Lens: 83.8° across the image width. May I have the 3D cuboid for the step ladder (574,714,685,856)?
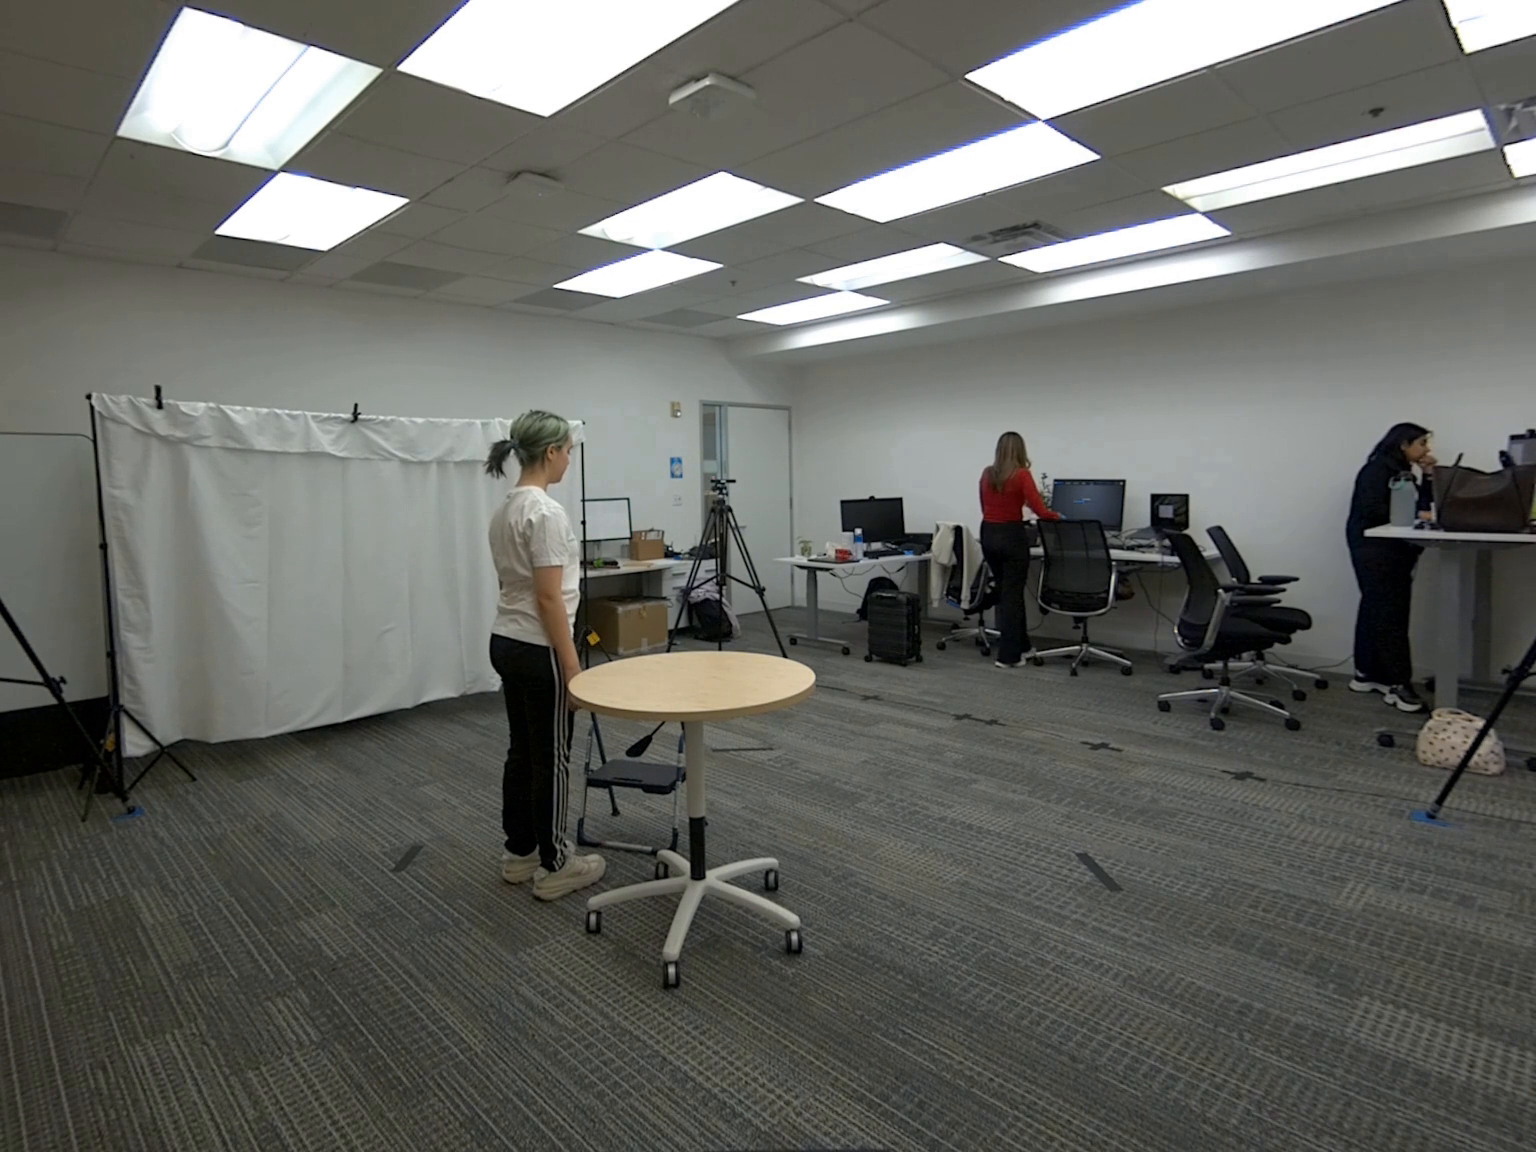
[{"bbox_3d":[-0.501,0.723,3.371,0.438,0.604,0.344,0,3,18],"label":"step ladder"}]
